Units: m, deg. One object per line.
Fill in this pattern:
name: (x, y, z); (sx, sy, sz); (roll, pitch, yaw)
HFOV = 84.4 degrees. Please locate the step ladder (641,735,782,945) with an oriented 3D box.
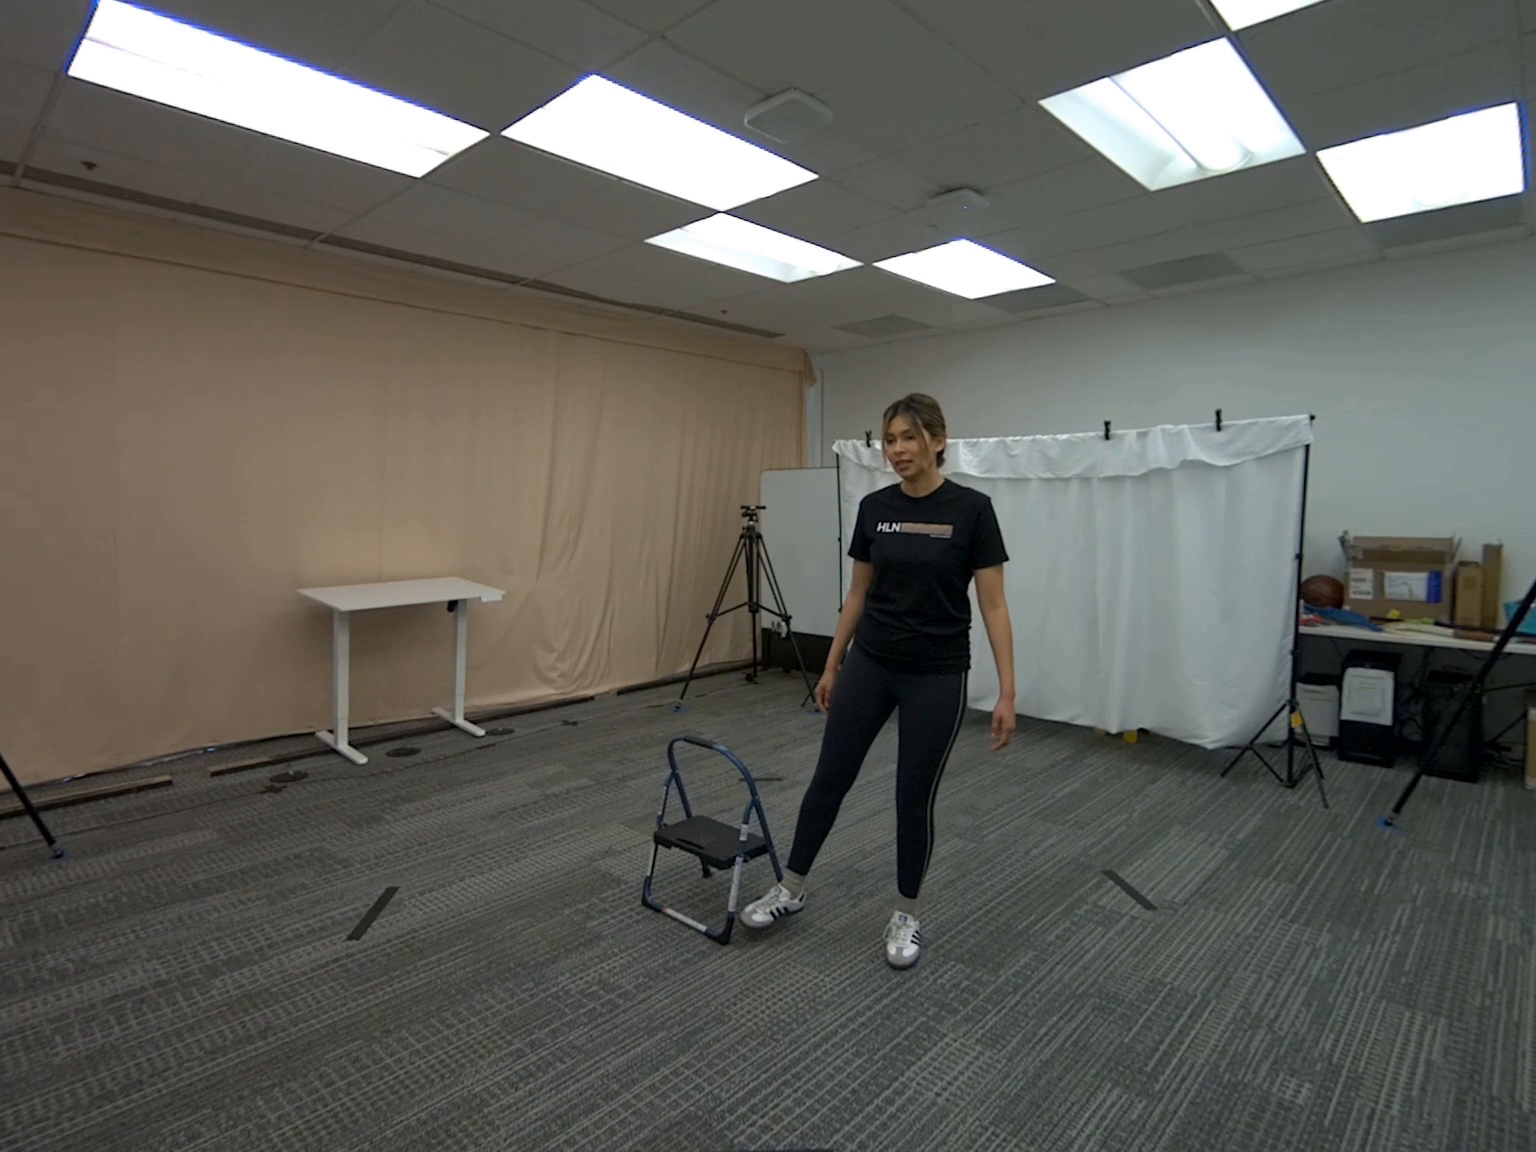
step ladder: (-0.176, 0.846, 2.908); (0.445, 0.605, 0.338); (3, 4, 42)
